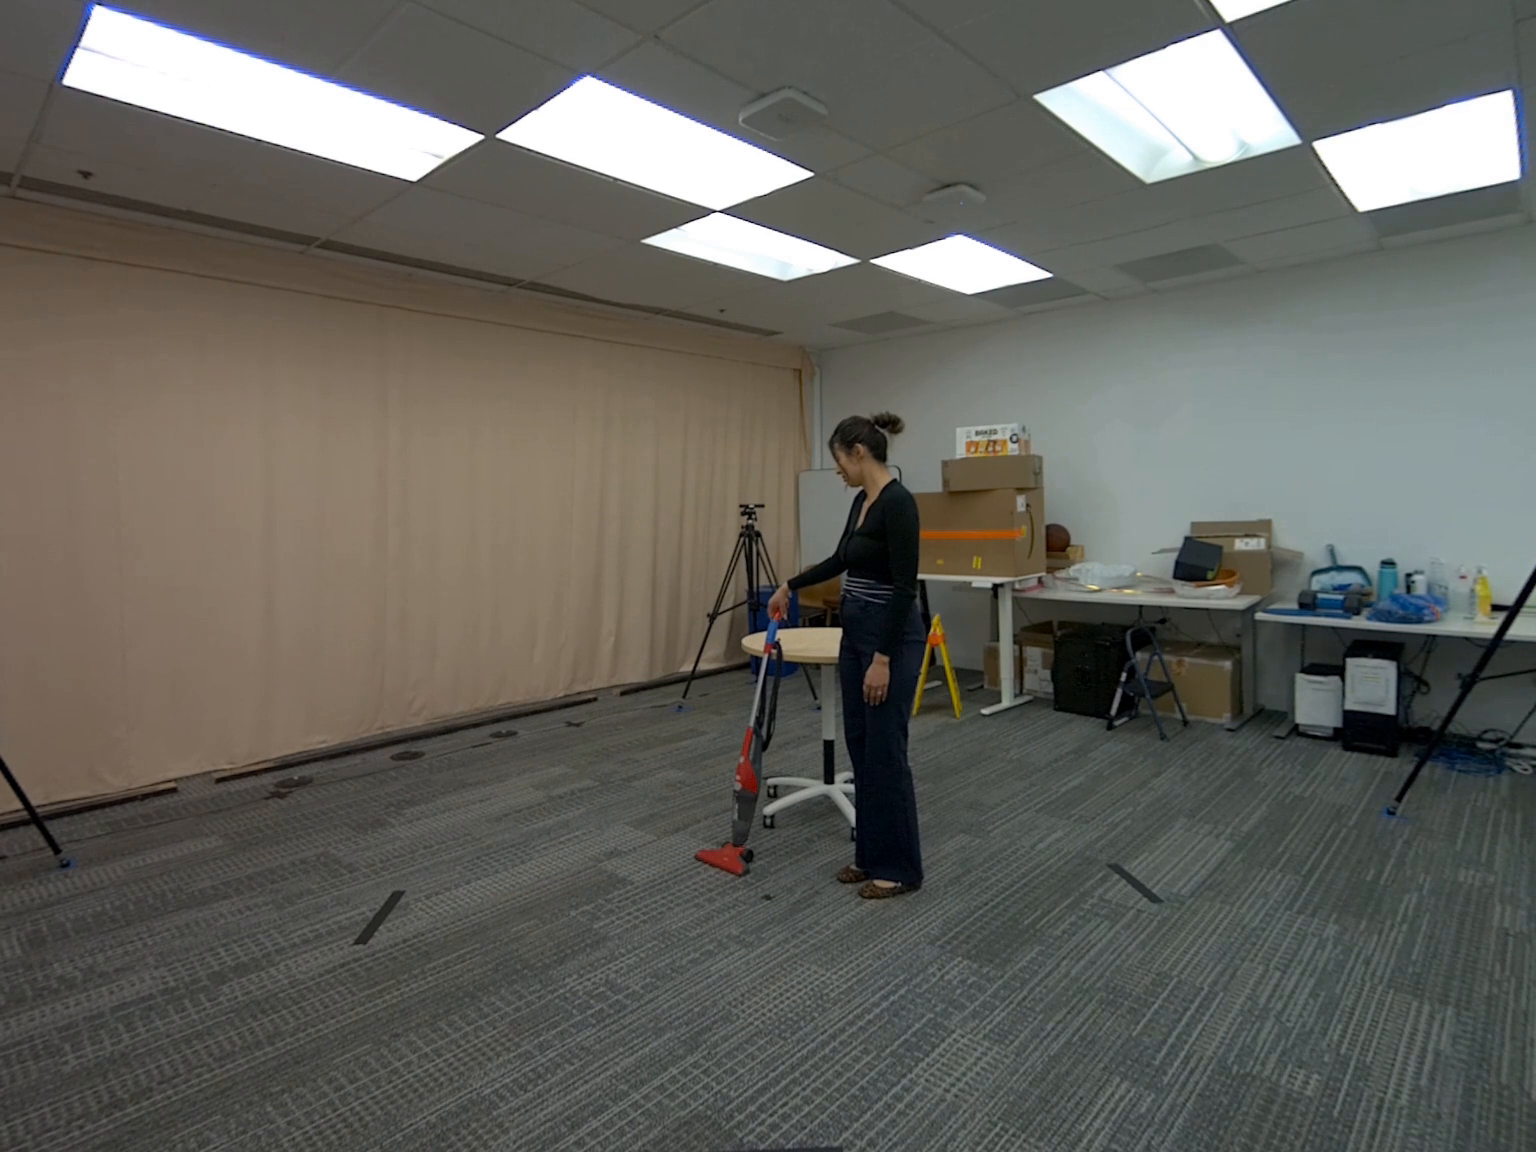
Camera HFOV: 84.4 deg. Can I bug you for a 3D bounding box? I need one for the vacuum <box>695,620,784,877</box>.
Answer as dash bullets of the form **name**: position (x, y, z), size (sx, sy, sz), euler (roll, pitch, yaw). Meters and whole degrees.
- **vacuum**: position (-0.038, 0.613, 3.394), size (0.261, 1.054, 0.139), euler (0, -18, 46)
